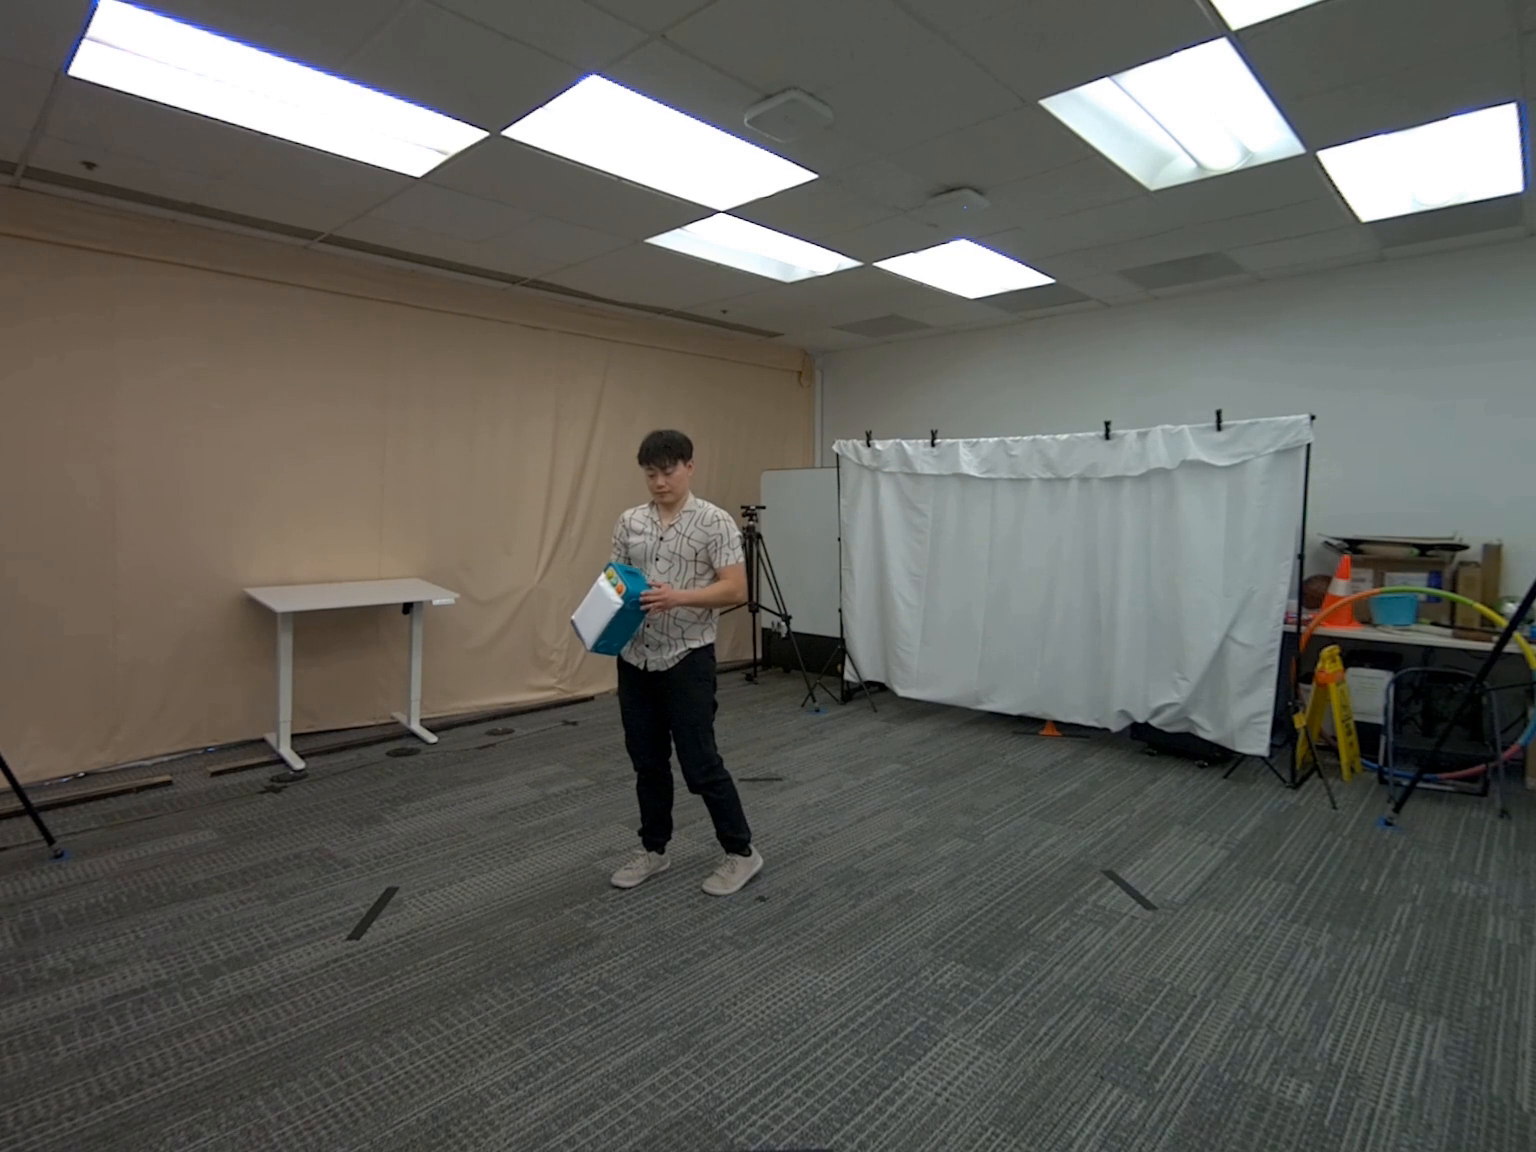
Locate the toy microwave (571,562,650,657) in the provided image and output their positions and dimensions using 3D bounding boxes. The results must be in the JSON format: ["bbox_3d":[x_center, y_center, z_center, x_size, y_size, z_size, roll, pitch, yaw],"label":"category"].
[{"bbox_3d":[-0.527,0.116,2.851,0.147,0.287,0.190,17,26,-48],"label":"toy microwave"}]
